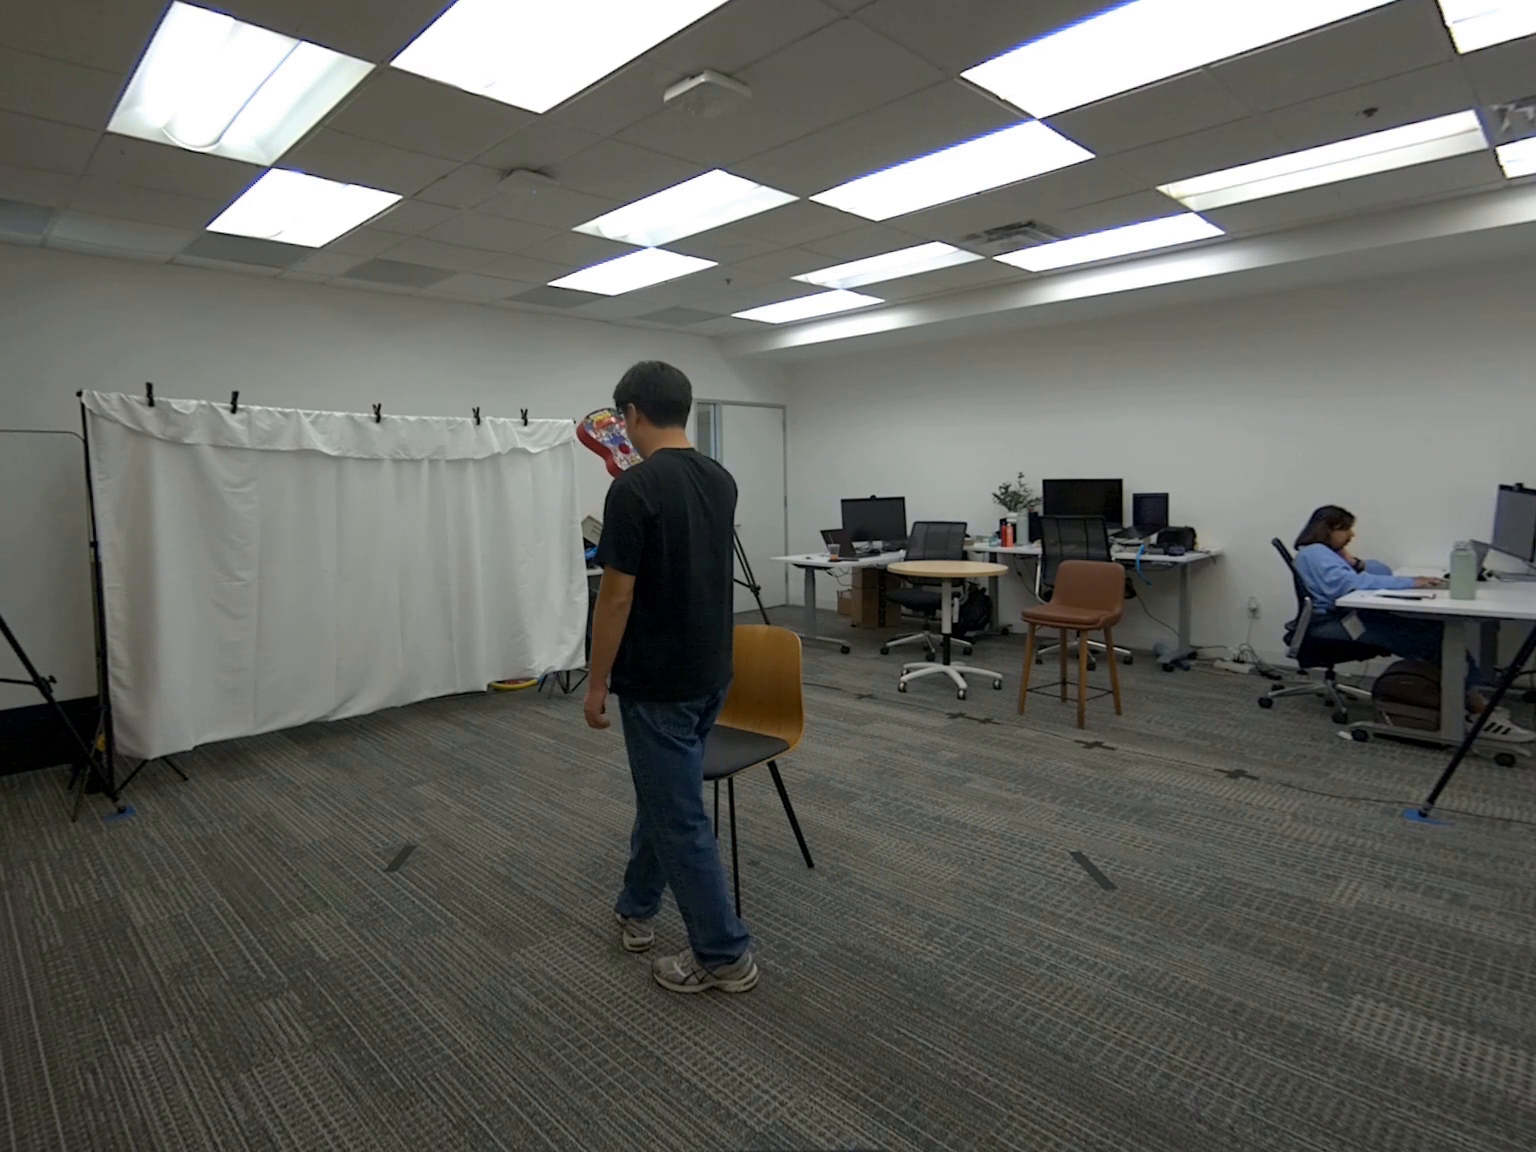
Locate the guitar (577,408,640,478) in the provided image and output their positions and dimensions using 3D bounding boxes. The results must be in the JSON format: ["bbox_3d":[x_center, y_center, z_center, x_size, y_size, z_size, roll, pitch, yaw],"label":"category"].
[{"bbox_3d":[-0.497,-0.364,3.012,0.189,0.505,0.071,-19,-16,-44],"label":"guitar"}]
